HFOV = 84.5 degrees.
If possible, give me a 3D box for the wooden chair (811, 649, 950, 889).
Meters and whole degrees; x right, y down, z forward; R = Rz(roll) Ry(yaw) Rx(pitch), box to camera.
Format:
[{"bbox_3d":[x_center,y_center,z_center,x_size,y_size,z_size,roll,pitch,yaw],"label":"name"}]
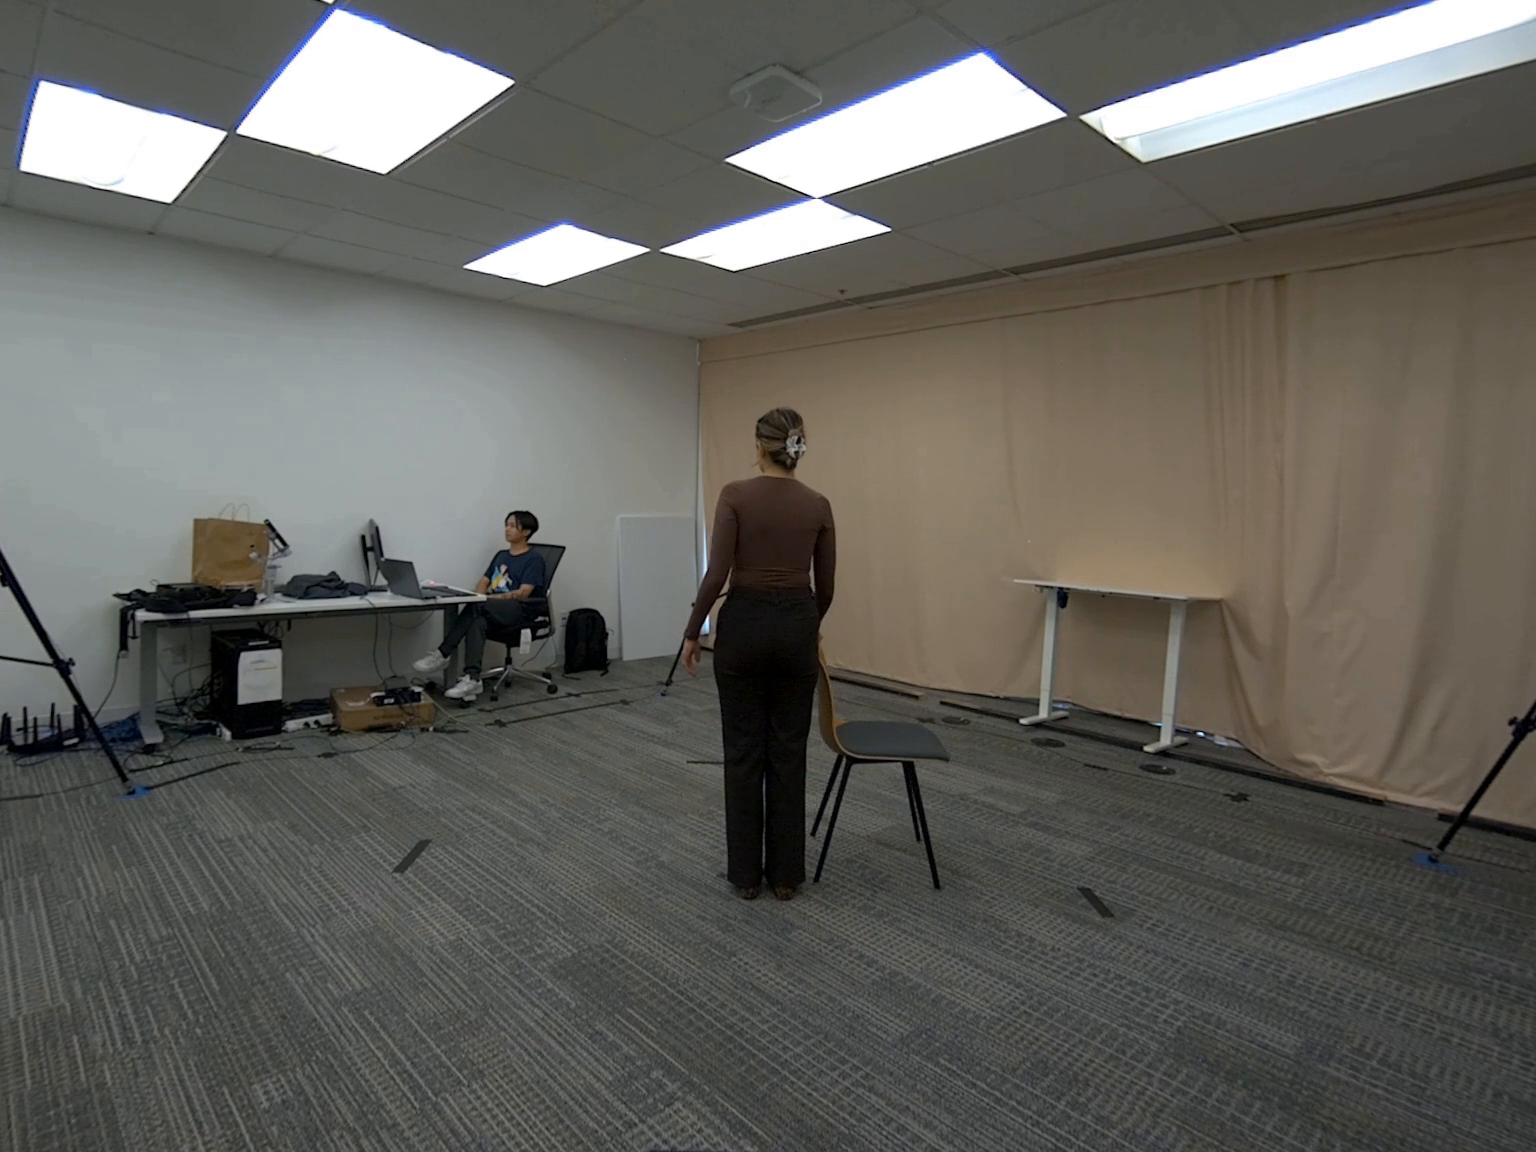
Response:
[{"bbox_3d":[0.406,0.679,3.239,0.525,0.876,0.477,-2,2,3],"label":"wooden chair"}]
